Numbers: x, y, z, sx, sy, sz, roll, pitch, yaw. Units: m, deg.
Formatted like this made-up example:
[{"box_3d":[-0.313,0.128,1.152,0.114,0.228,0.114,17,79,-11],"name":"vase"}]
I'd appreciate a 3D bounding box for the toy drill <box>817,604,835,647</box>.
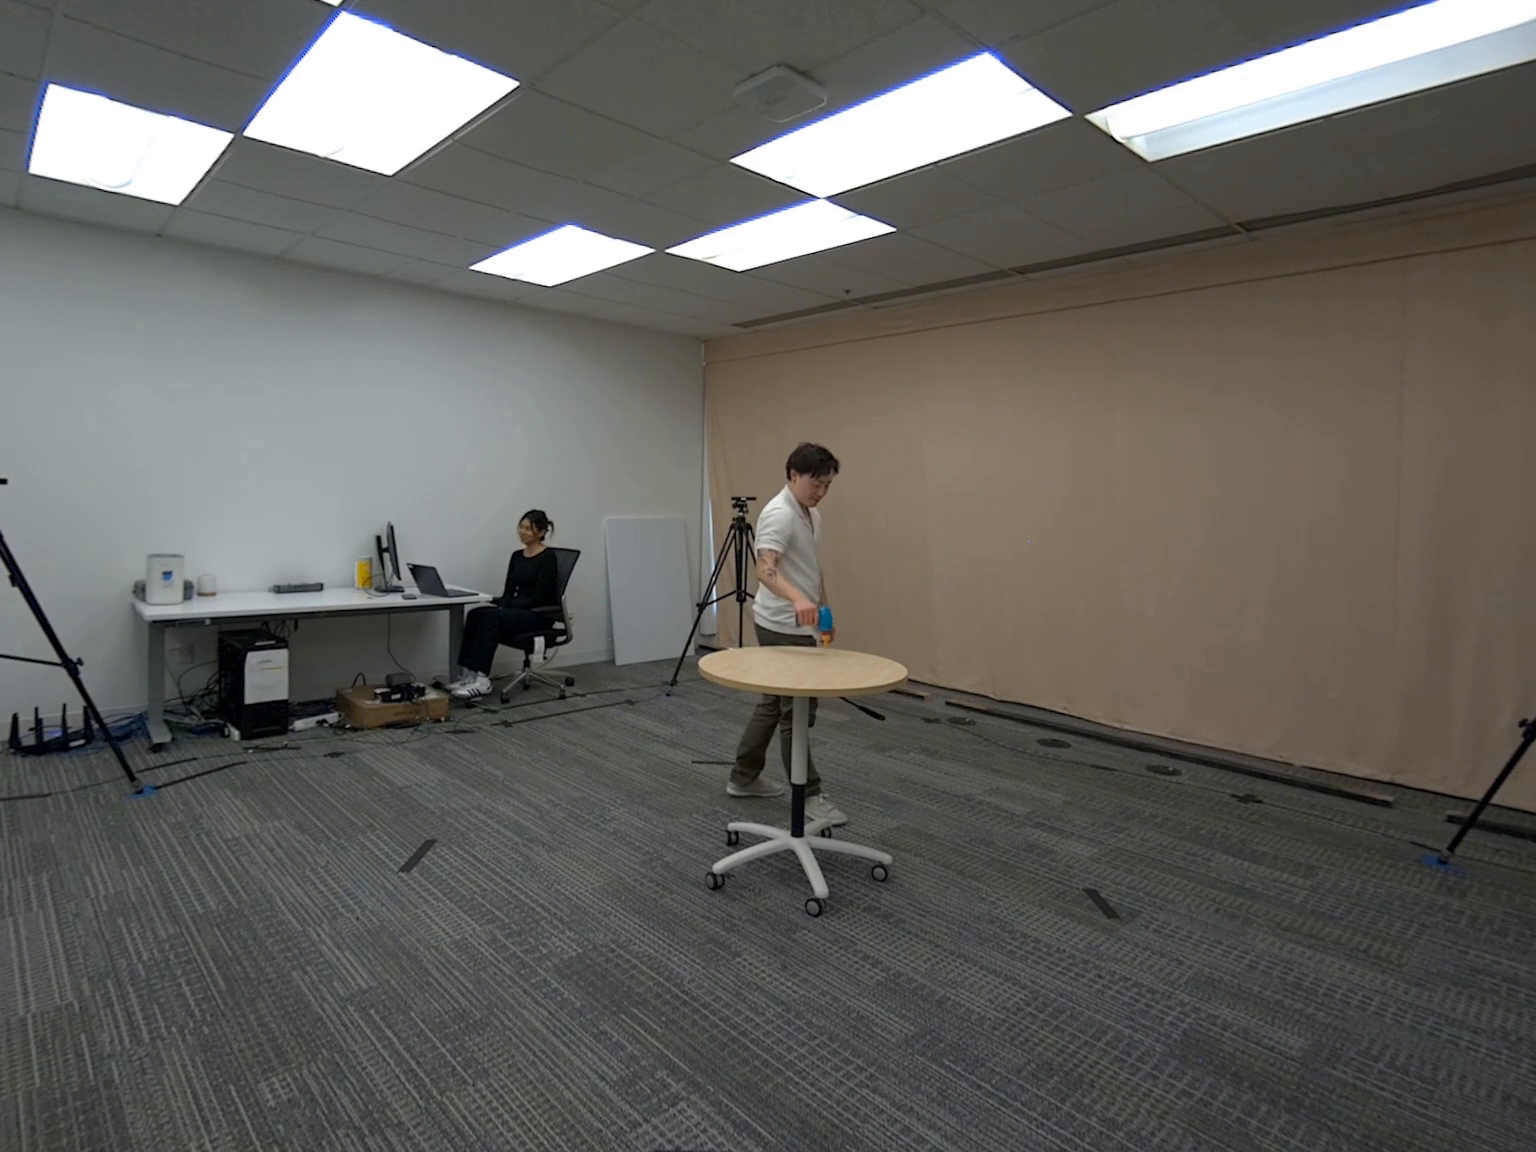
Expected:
[{"box_3d":[0.173,0.203,3.322,0.148,0.169,0.060,-2,4,17],"name":"toy drill"}]
